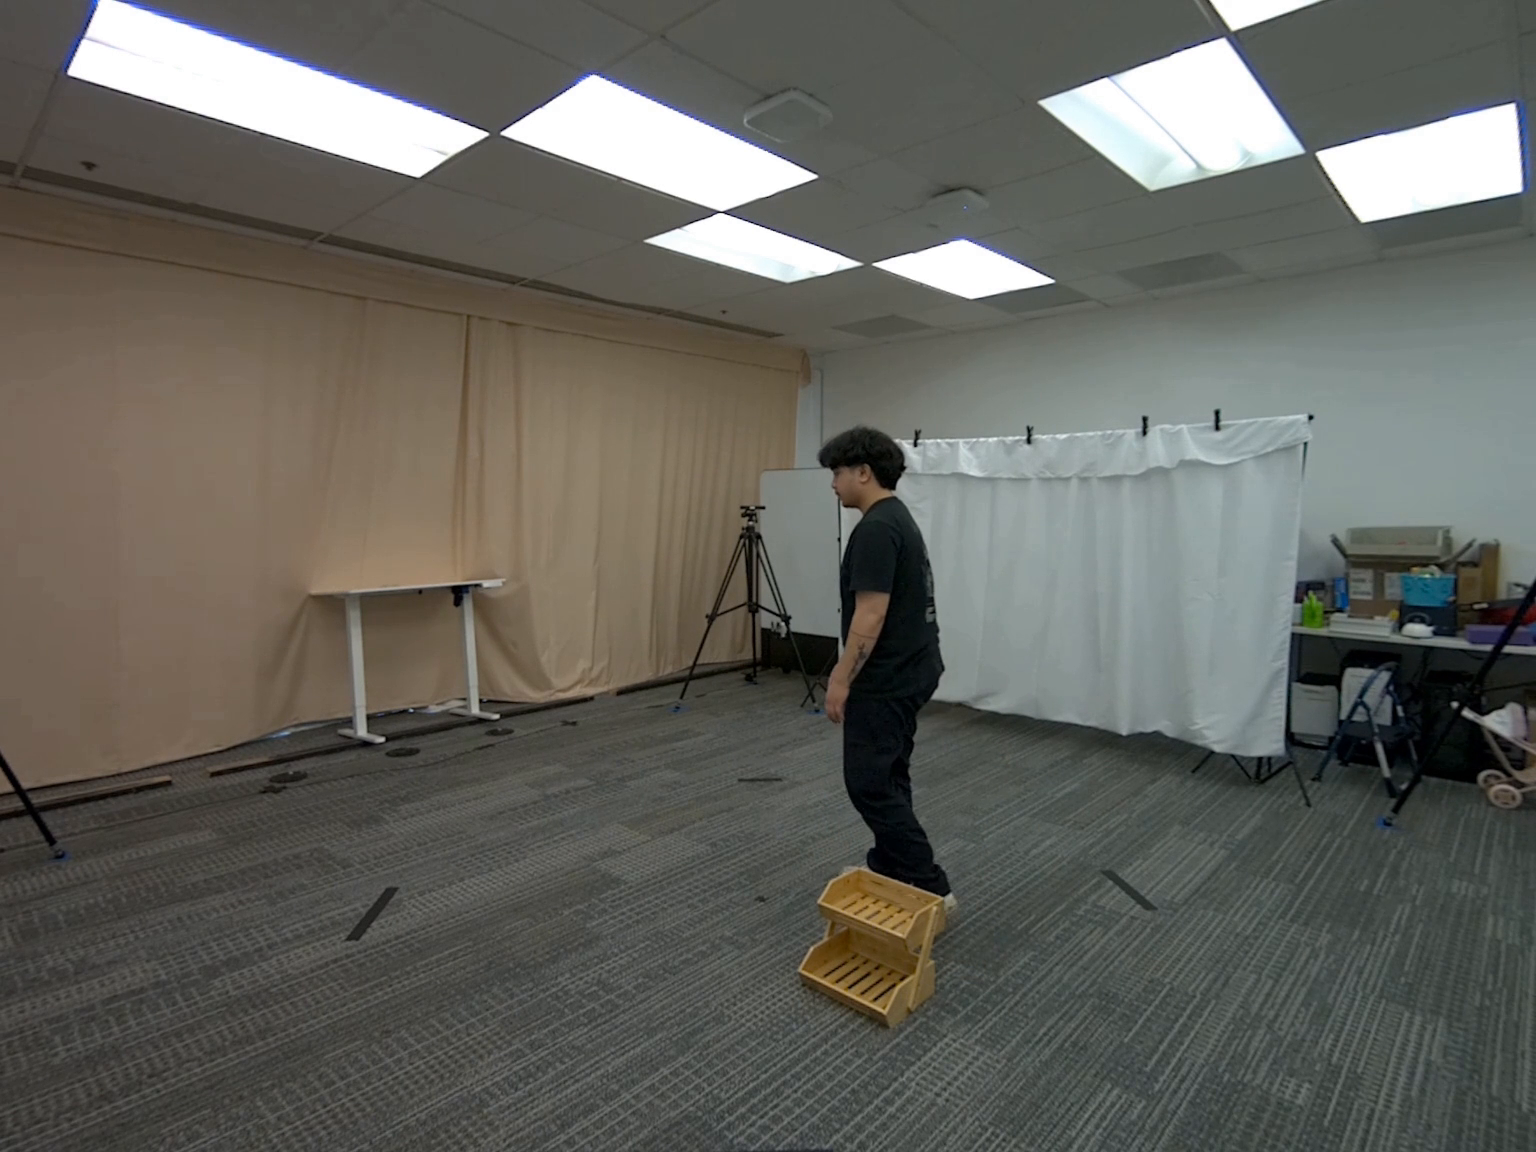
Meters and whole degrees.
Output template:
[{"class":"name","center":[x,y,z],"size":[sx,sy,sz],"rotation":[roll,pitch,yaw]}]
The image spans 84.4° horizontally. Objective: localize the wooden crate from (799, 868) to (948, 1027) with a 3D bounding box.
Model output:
[{"class":"wooden crate","center":[0.301,1.049,2.437],"size":[0.335,0.273,0.292],"rotation":[3,4,42]}]
